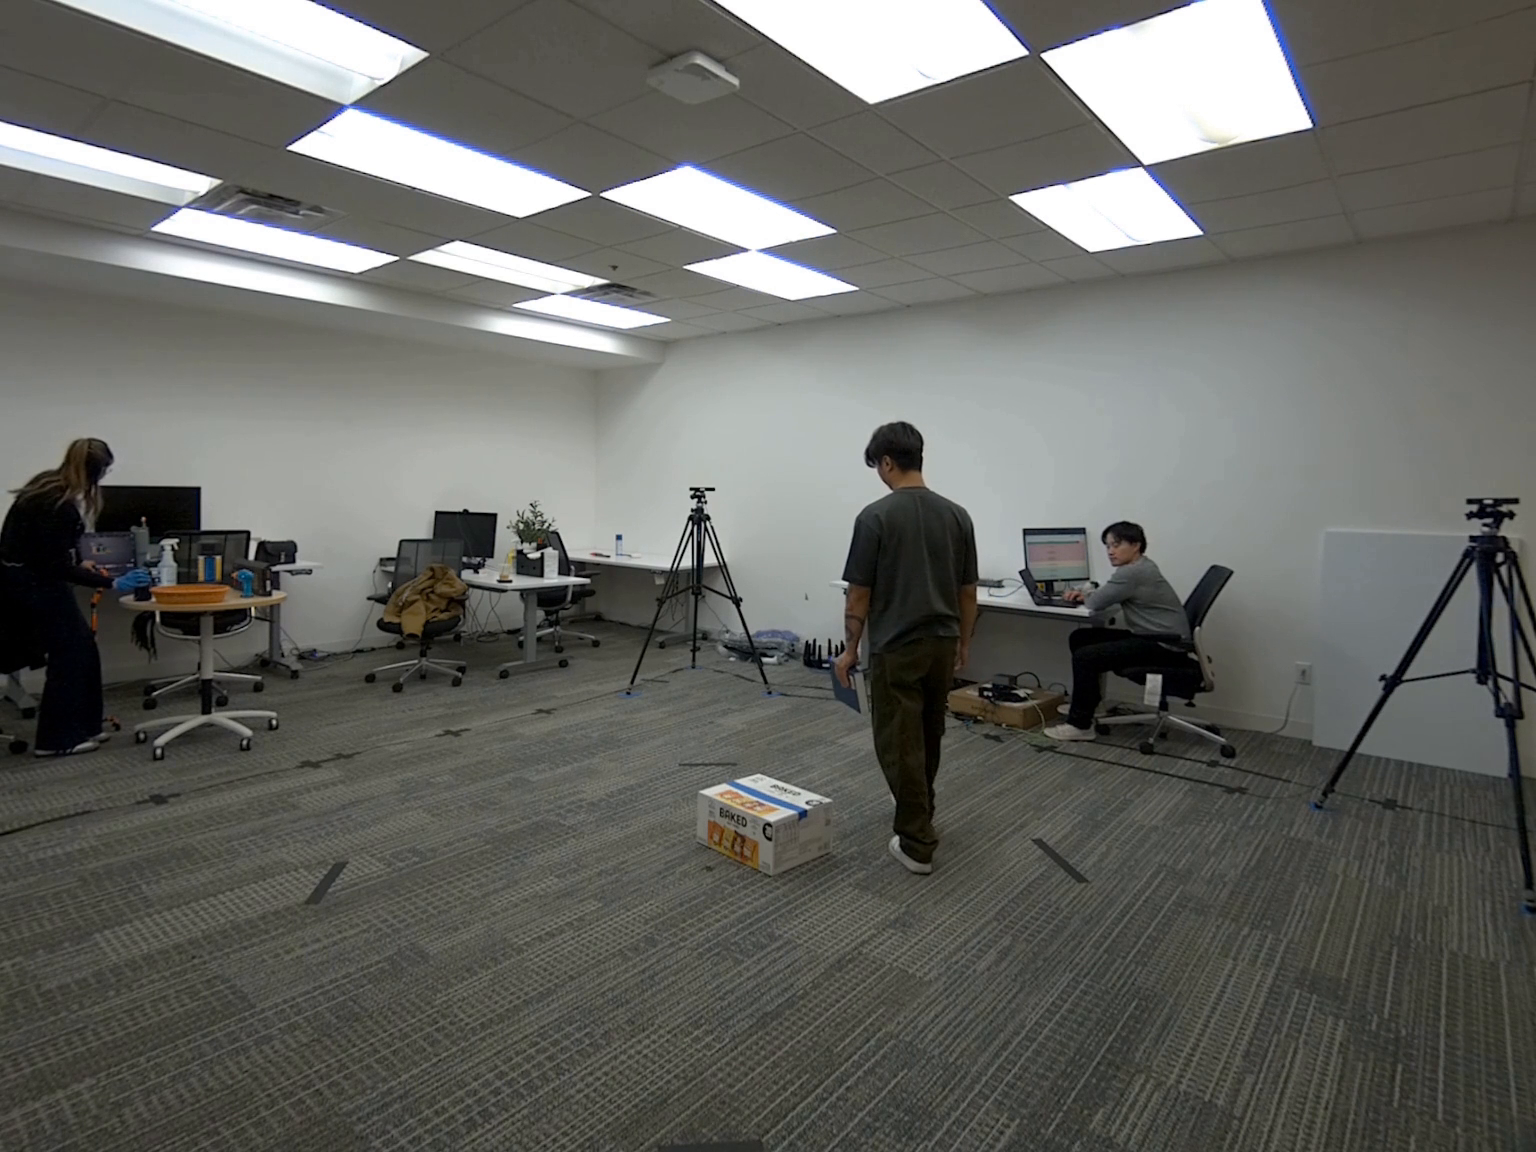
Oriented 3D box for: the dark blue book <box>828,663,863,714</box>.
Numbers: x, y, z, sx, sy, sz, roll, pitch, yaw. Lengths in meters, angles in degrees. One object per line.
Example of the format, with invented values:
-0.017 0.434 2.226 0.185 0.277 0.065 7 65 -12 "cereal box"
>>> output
0.314 0.427 3.337 0.044 0.162 0.250 -8 8 -17 "dark blue book"
